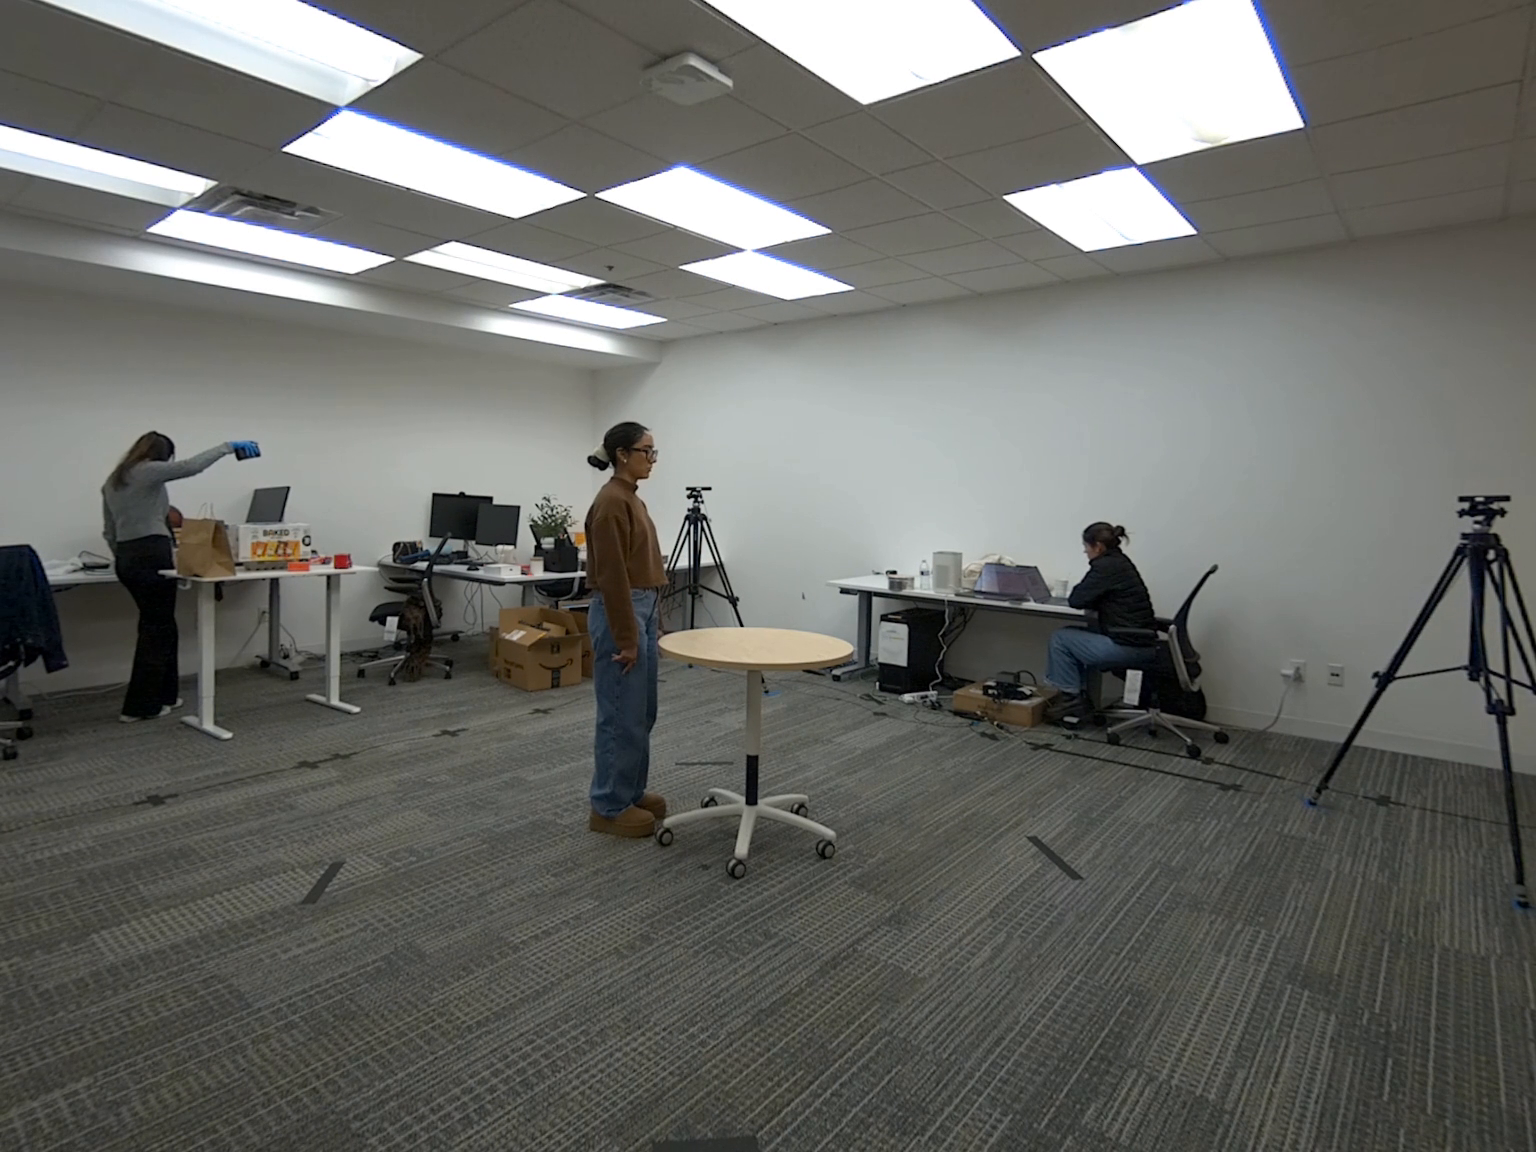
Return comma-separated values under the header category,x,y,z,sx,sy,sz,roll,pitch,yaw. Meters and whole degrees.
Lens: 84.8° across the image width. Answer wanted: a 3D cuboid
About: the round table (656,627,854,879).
category,x,y,z,sx,sy,sz,roll,pitch,yaw
round table,-0.070,0.656,3.364,0.763,0.791,0.768,1,4,-2
